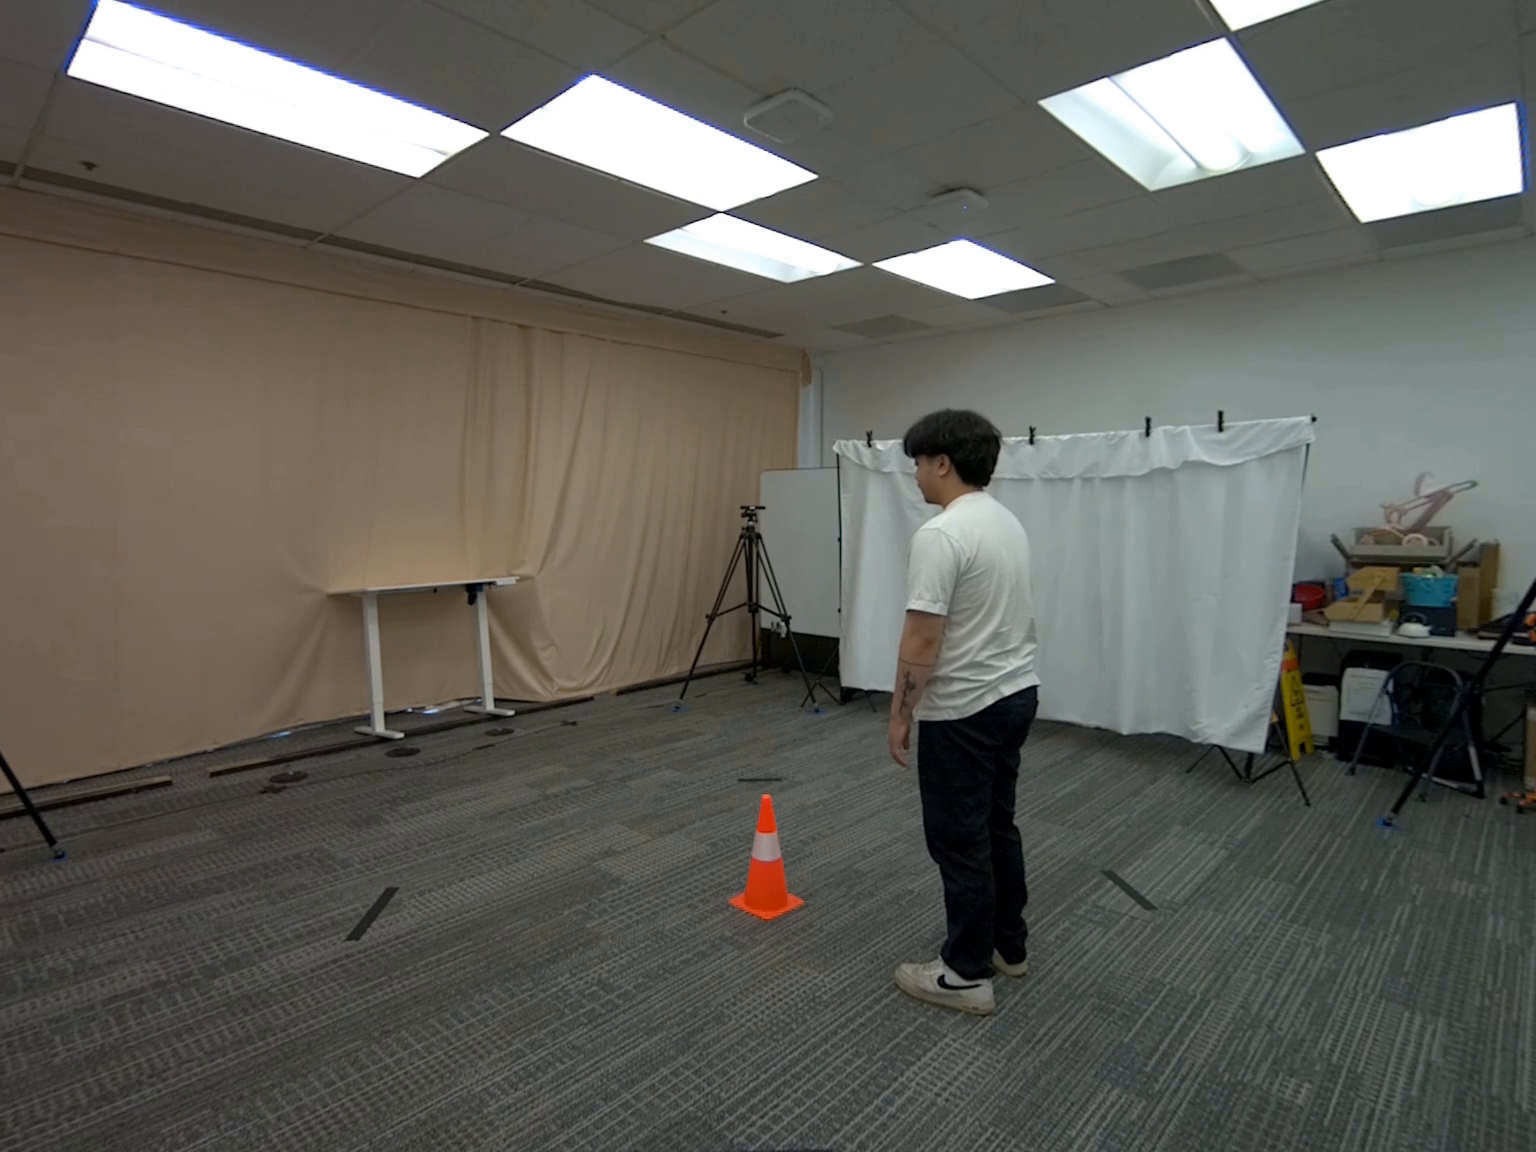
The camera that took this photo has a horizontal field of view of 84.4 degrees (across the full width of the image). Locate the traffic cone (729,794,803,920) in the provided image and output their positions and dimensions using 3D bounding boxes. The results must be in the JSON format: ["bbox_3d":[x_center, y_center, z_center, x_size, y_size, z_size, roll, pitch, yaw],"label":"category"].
[{"bbox_3d":[-0.006,0.964,2.950,0.210,0.383,0.199,3,5,39],"label":"traffic cone"}]
